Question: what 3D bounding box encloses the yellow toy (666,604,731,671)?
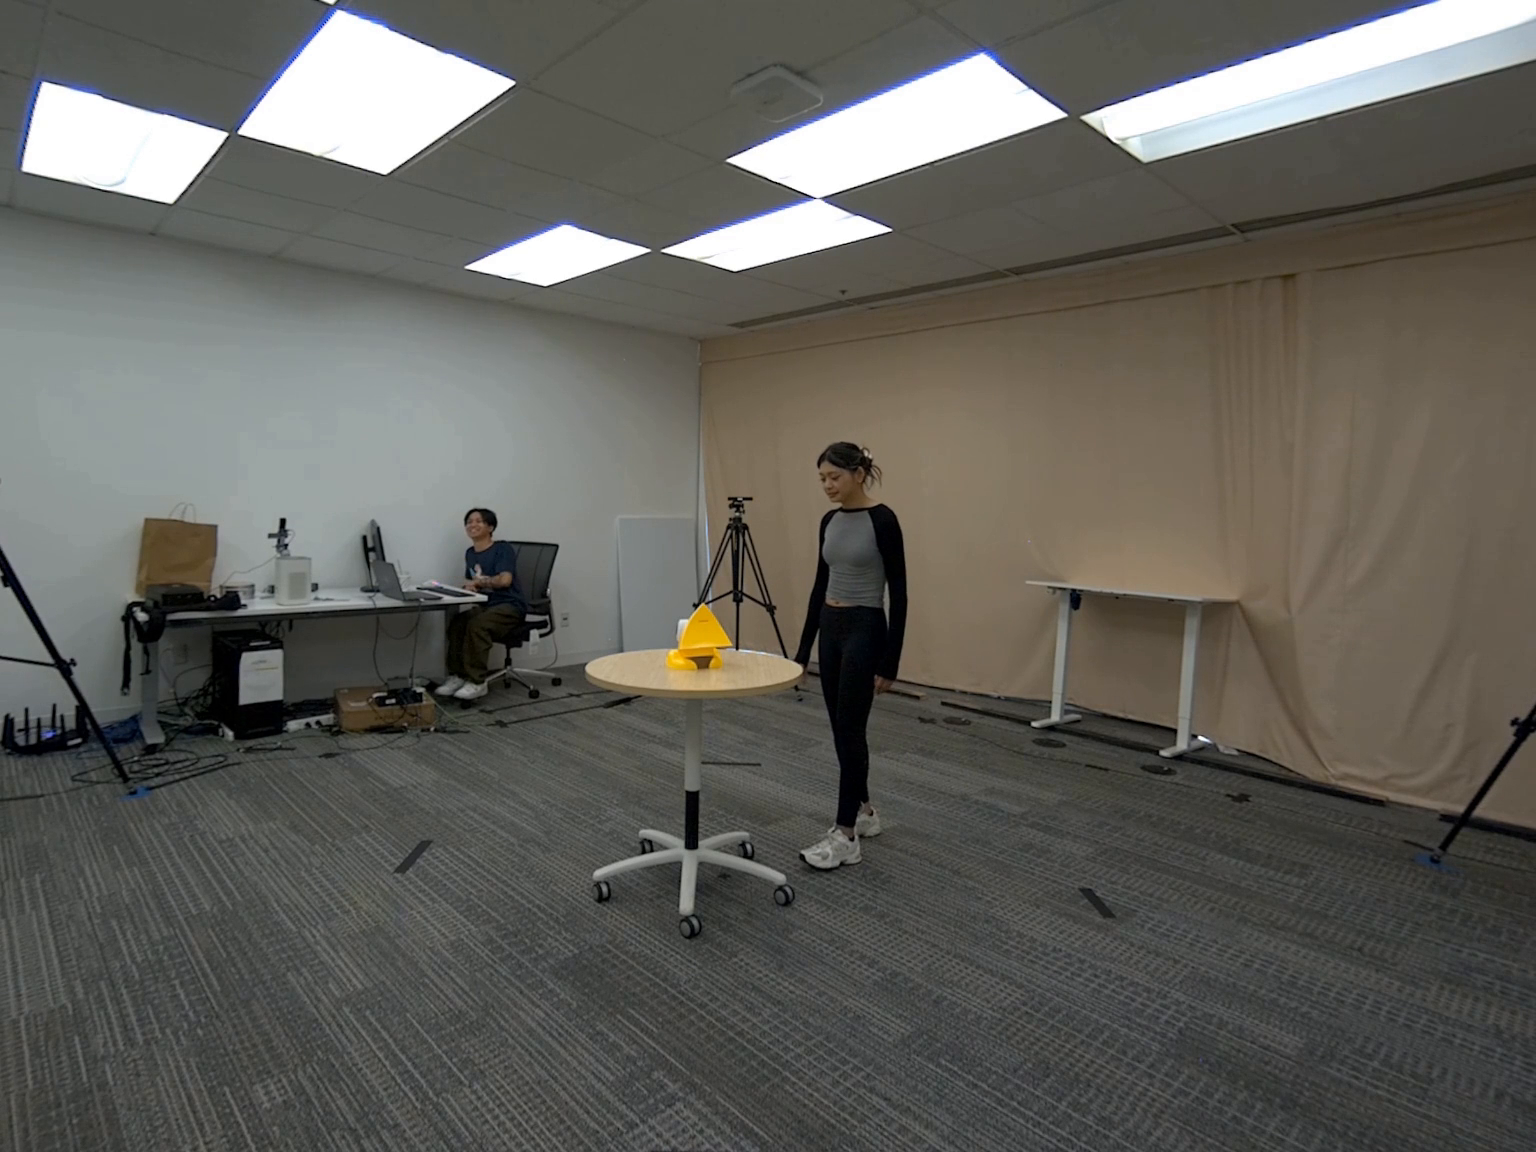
[{"bbox_3d":[-0.265,0.206,3.000,0.201,0.230,0.197,-1,4,-29],"label":"yellow toy"}]
